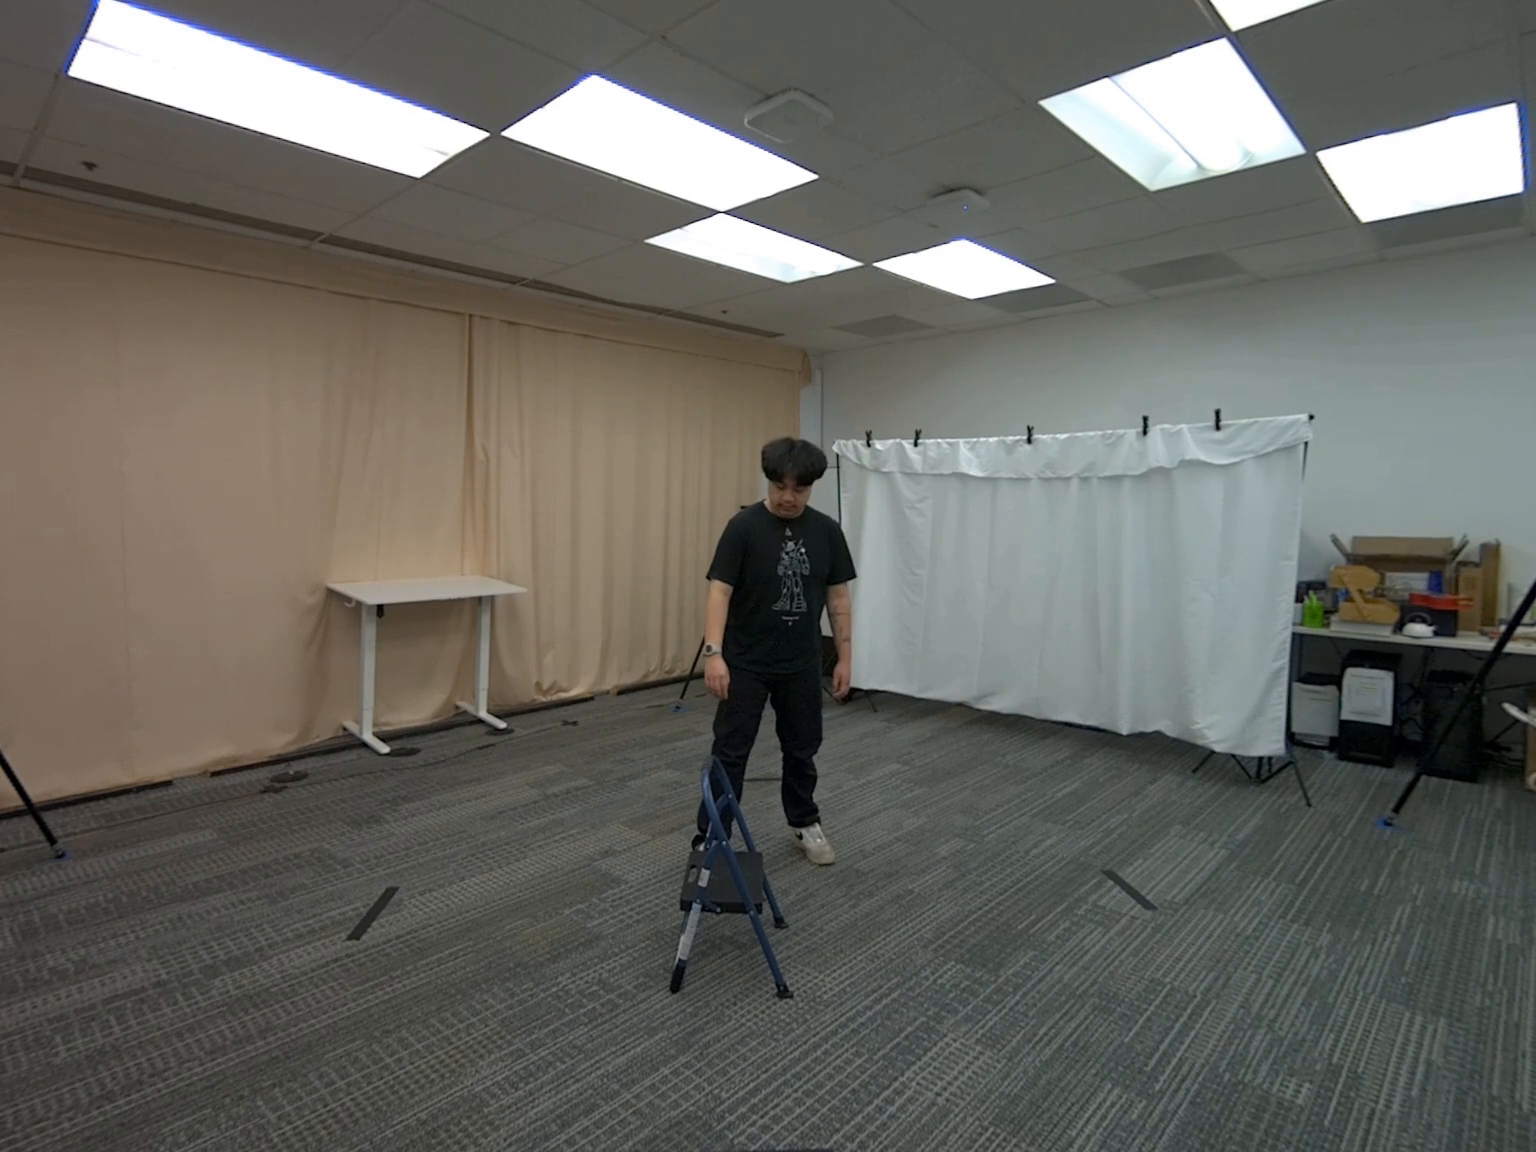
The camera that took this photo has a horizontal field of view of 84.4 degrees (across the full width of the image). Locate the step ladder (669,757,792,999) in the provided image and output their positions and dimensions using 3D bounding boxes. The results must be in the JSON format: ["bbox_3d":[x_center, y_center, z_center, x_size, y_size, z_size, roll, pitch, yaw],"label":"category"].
[{"bbox_3d":[-0.105,0.874,2.583,0.350,0.605,0.431,0,3,0],"label":"step ladder"}]
